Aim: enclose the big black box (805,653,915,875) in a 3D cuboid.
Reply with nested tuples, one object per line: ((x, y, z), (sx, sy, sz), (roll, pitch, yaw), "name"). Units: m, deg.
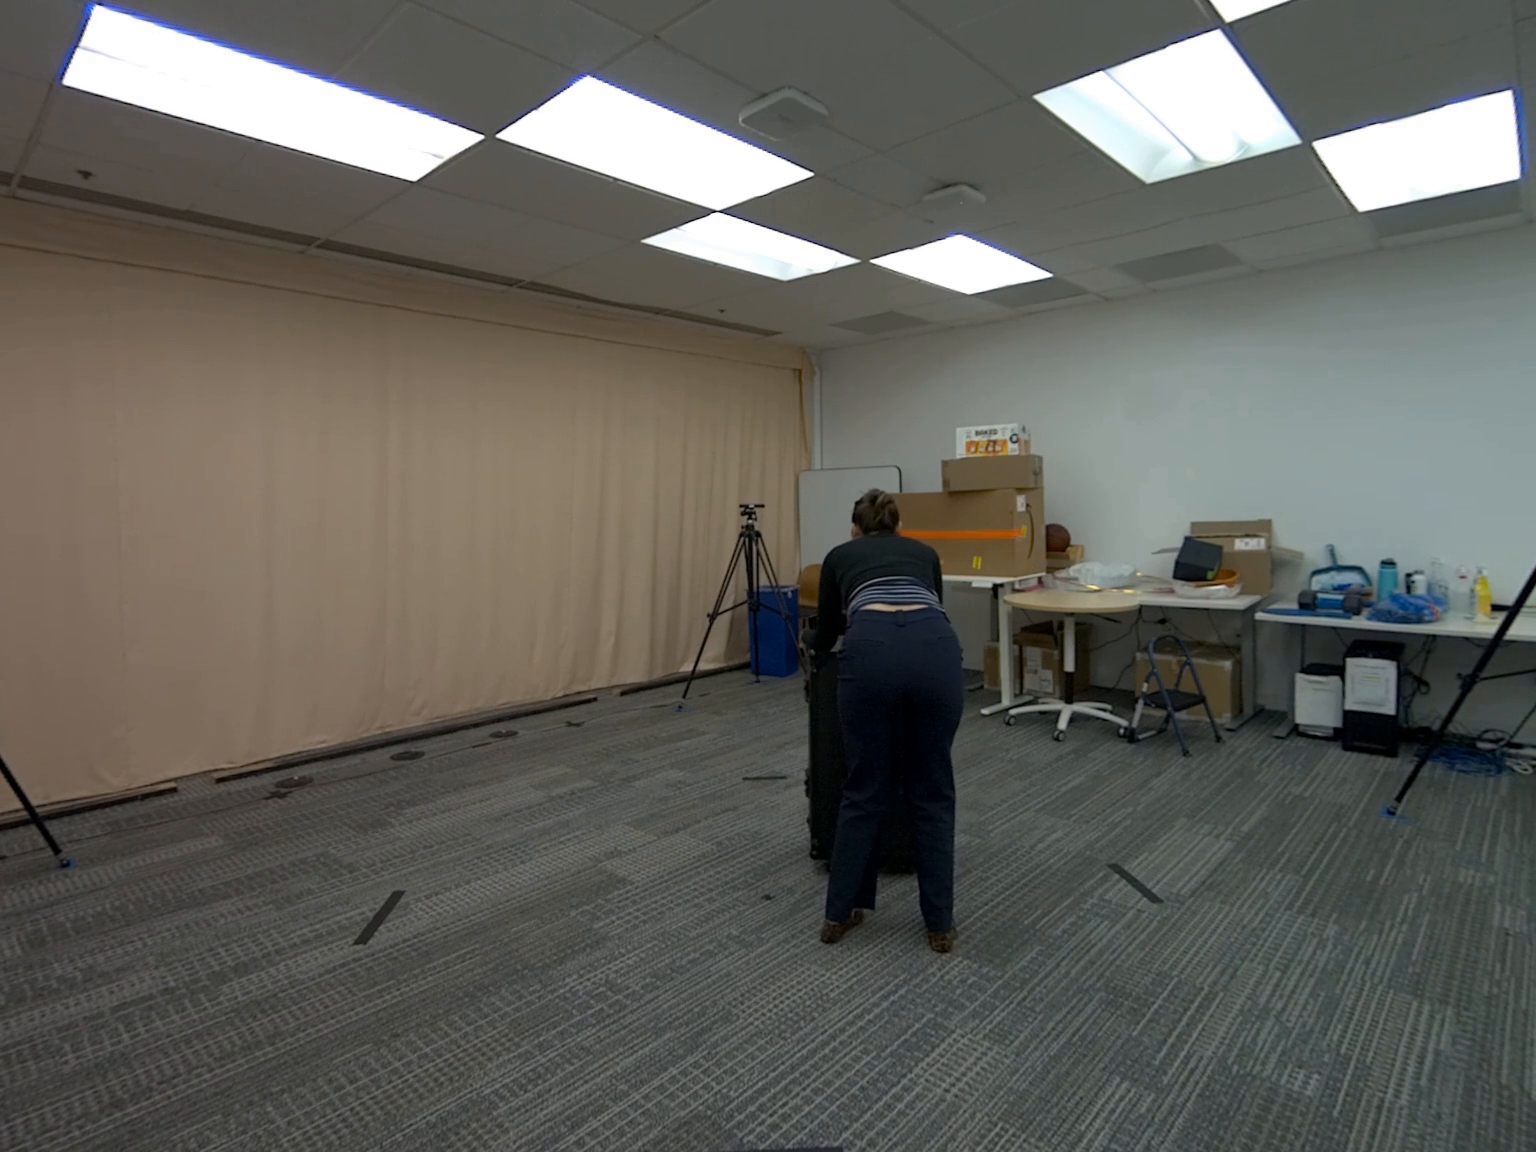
((0.407, 0.684, 3.246), (0.524, 0.858, 0.395), (0, 5, 4), "big black box")
